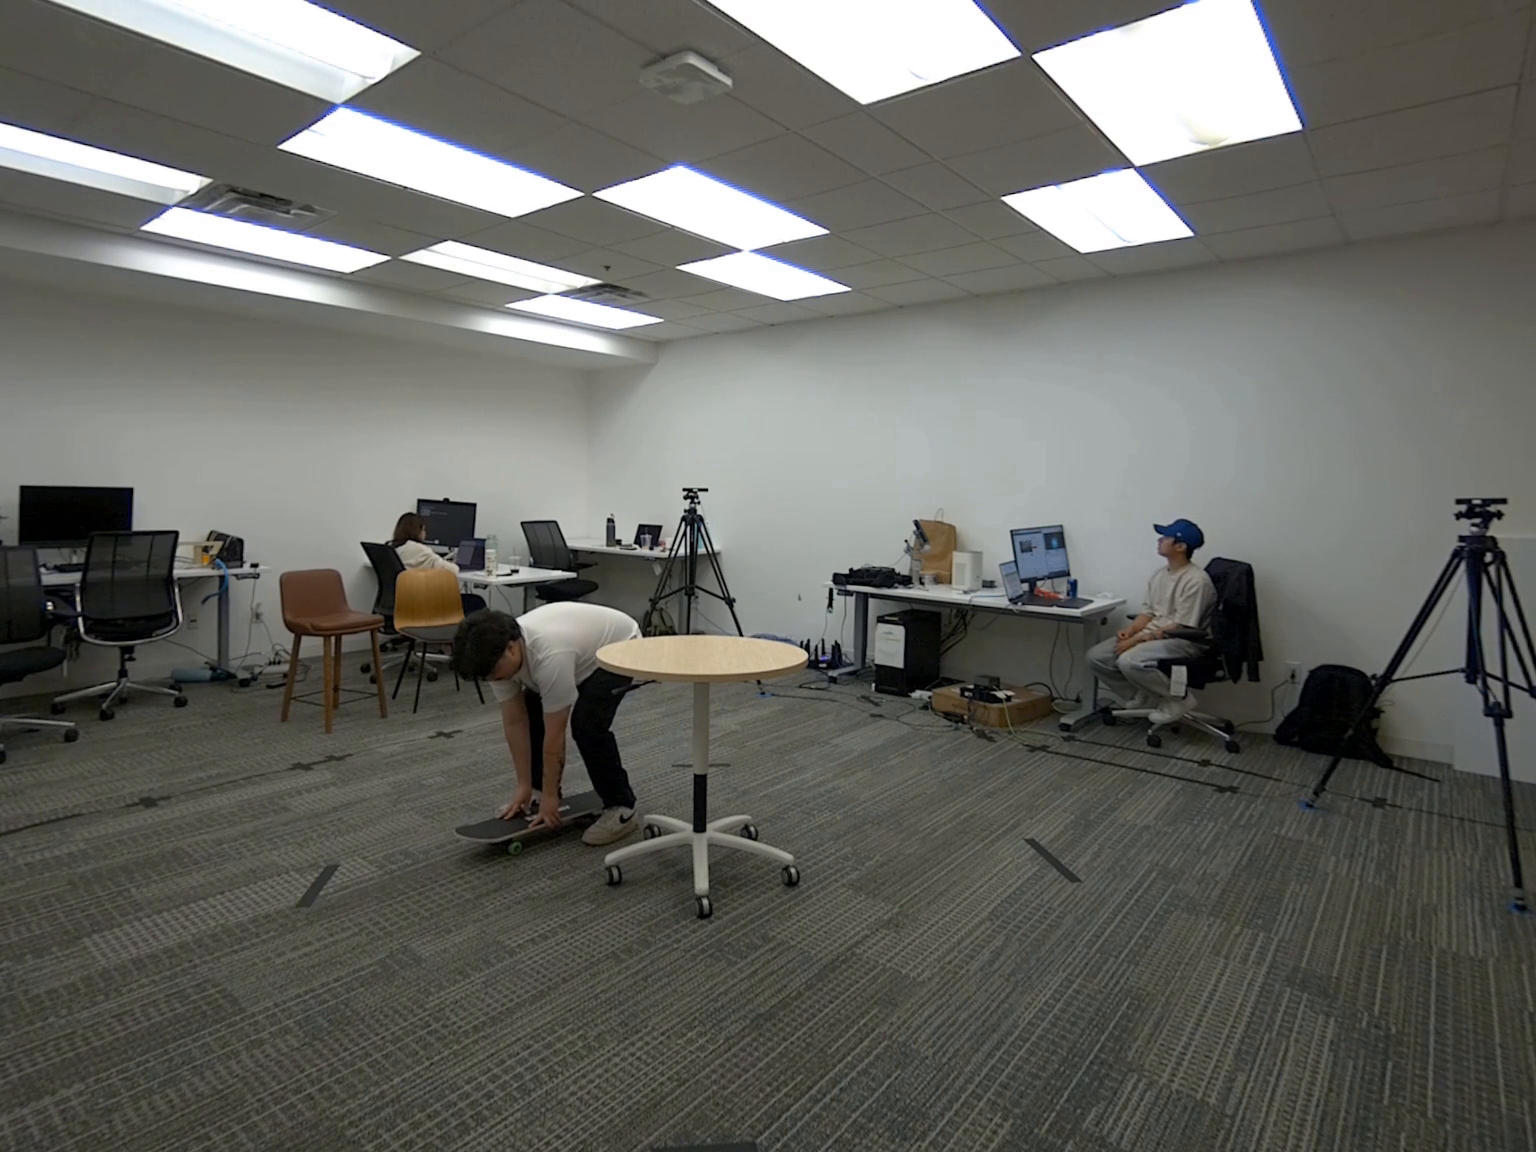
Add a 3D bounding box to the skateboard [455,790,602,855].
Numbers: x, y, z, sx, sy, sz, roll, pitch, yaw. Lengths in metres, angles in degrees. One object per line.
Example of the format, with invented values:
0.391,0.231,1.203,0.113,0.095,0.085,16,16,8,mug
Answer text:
-0.895,0.980,3.393,0.200,0.110,0.761,5,6,43,skateboard
